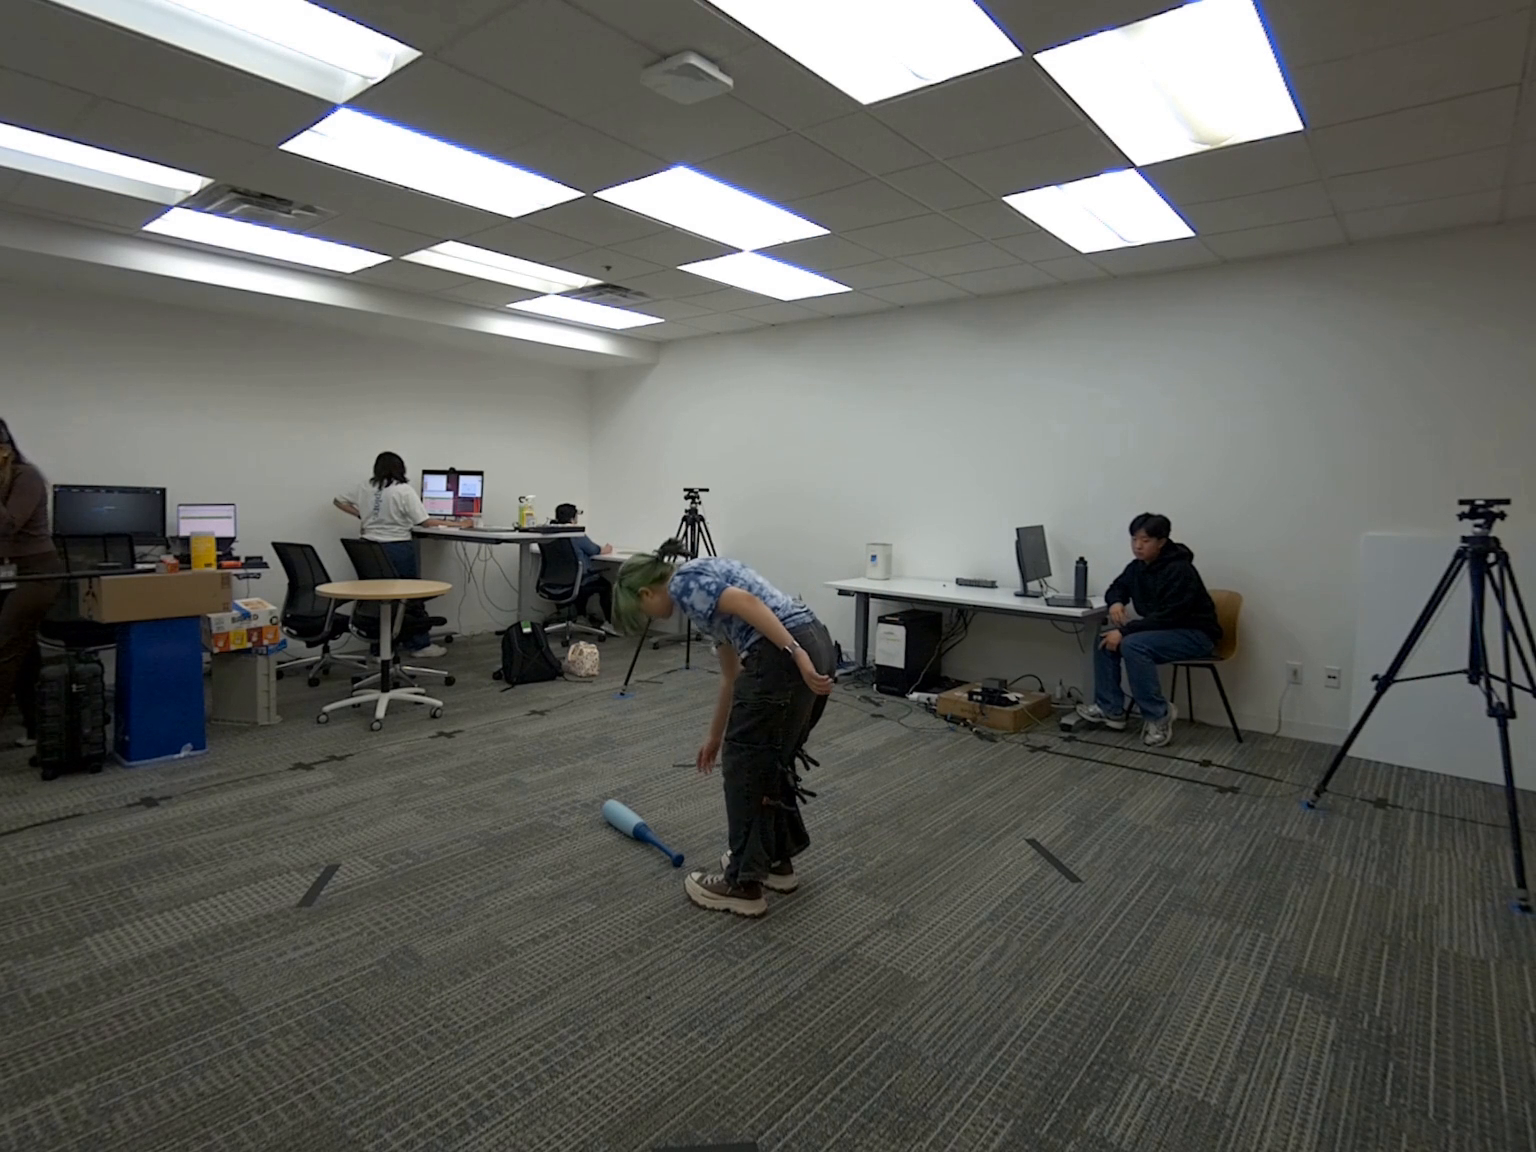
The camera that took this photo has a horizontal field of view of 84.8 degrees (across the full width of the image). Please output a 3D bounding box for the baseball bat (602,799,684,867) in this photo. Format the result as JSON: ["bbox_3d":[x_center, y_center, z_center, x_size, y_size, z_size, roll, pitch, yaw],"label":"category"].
[{"bbox_3d":[-0.507,1.011,3.337,0.086,0.088,0.562,-2,10,-37],"label":"baseball bat"}]
